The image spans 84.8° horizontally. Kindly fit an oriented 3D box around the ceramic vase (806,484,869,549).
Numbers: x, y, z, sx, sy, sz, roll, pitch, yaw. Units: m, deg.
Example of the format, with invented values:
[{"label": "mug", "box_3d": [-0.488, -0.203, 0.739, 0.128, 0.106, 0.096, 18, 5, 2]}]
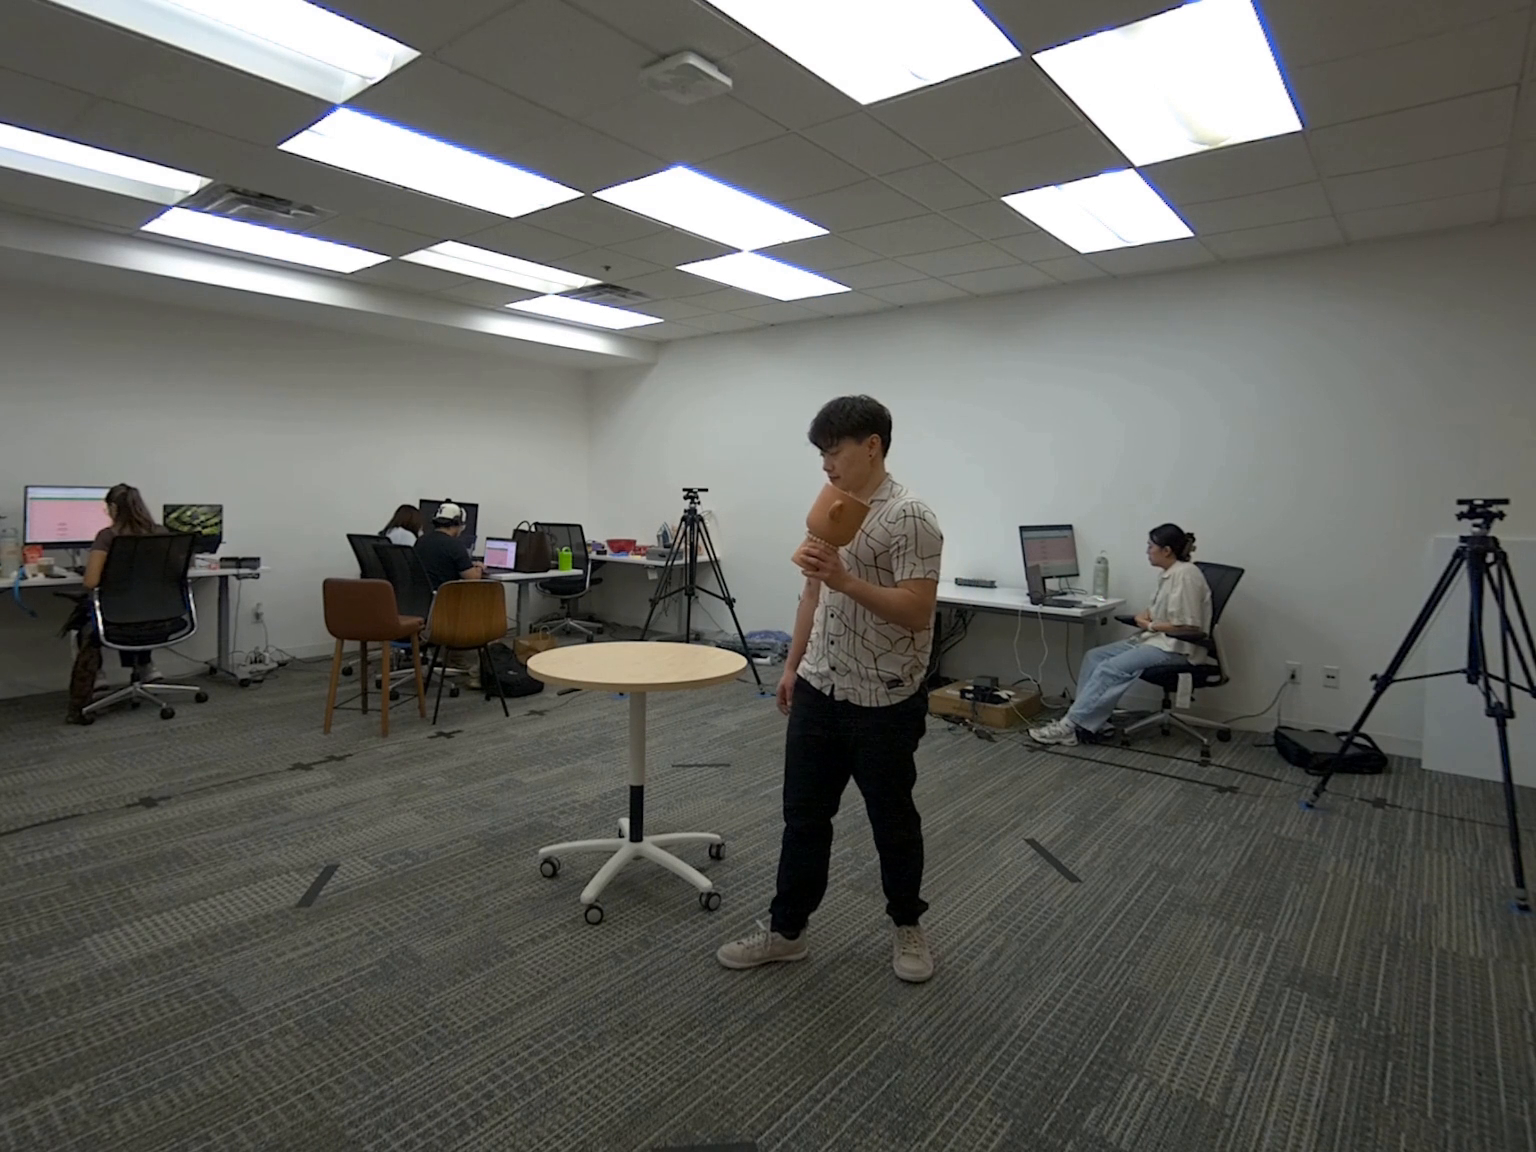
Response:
[{"label": "ceramic vase", "box_3d": [0.149, -0.119, 2.198, 0.153, 0.219, 0.140, 25, 8, -36]}]
